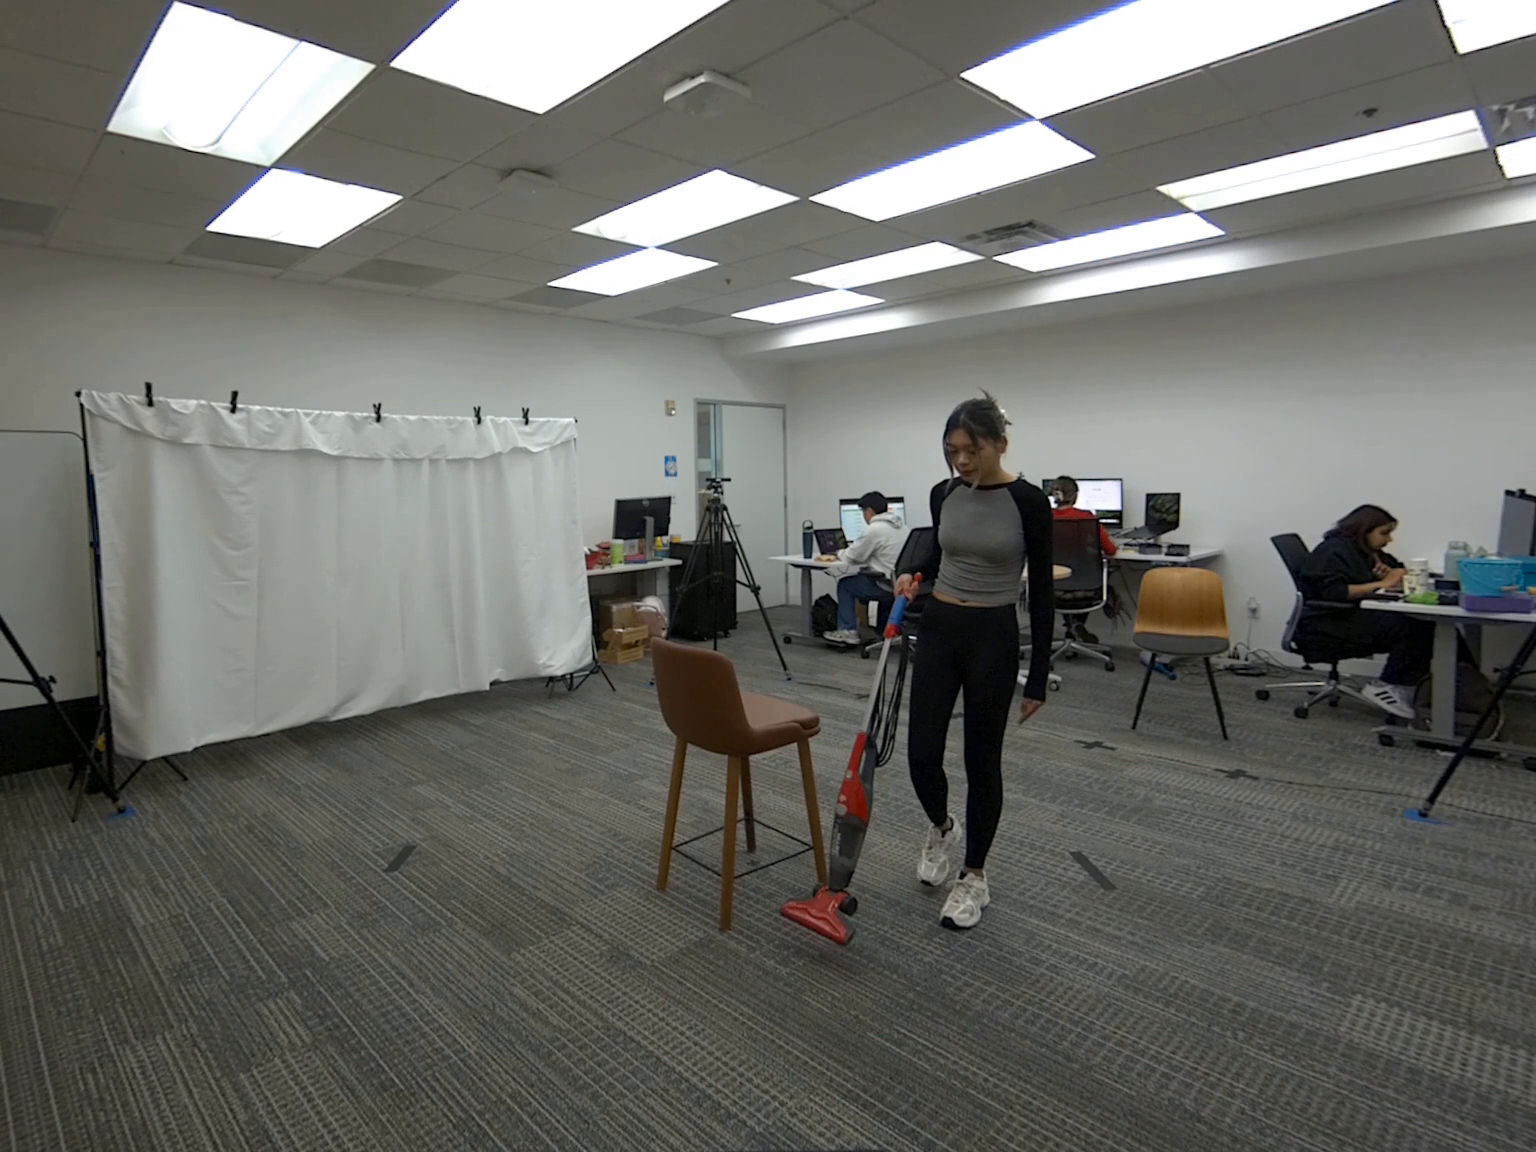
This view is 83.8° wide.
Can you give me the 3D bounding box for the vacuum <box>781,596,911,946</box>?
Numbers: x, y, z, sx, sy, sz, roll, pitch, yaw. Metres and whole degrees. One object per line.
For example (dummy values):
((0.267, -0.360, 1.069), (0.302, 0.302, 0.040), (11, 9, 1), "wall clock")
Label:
((0.322, 0.504, 2.590), (0.260, 1.058, 0.138), (2, -19, 45), "vacuum")
